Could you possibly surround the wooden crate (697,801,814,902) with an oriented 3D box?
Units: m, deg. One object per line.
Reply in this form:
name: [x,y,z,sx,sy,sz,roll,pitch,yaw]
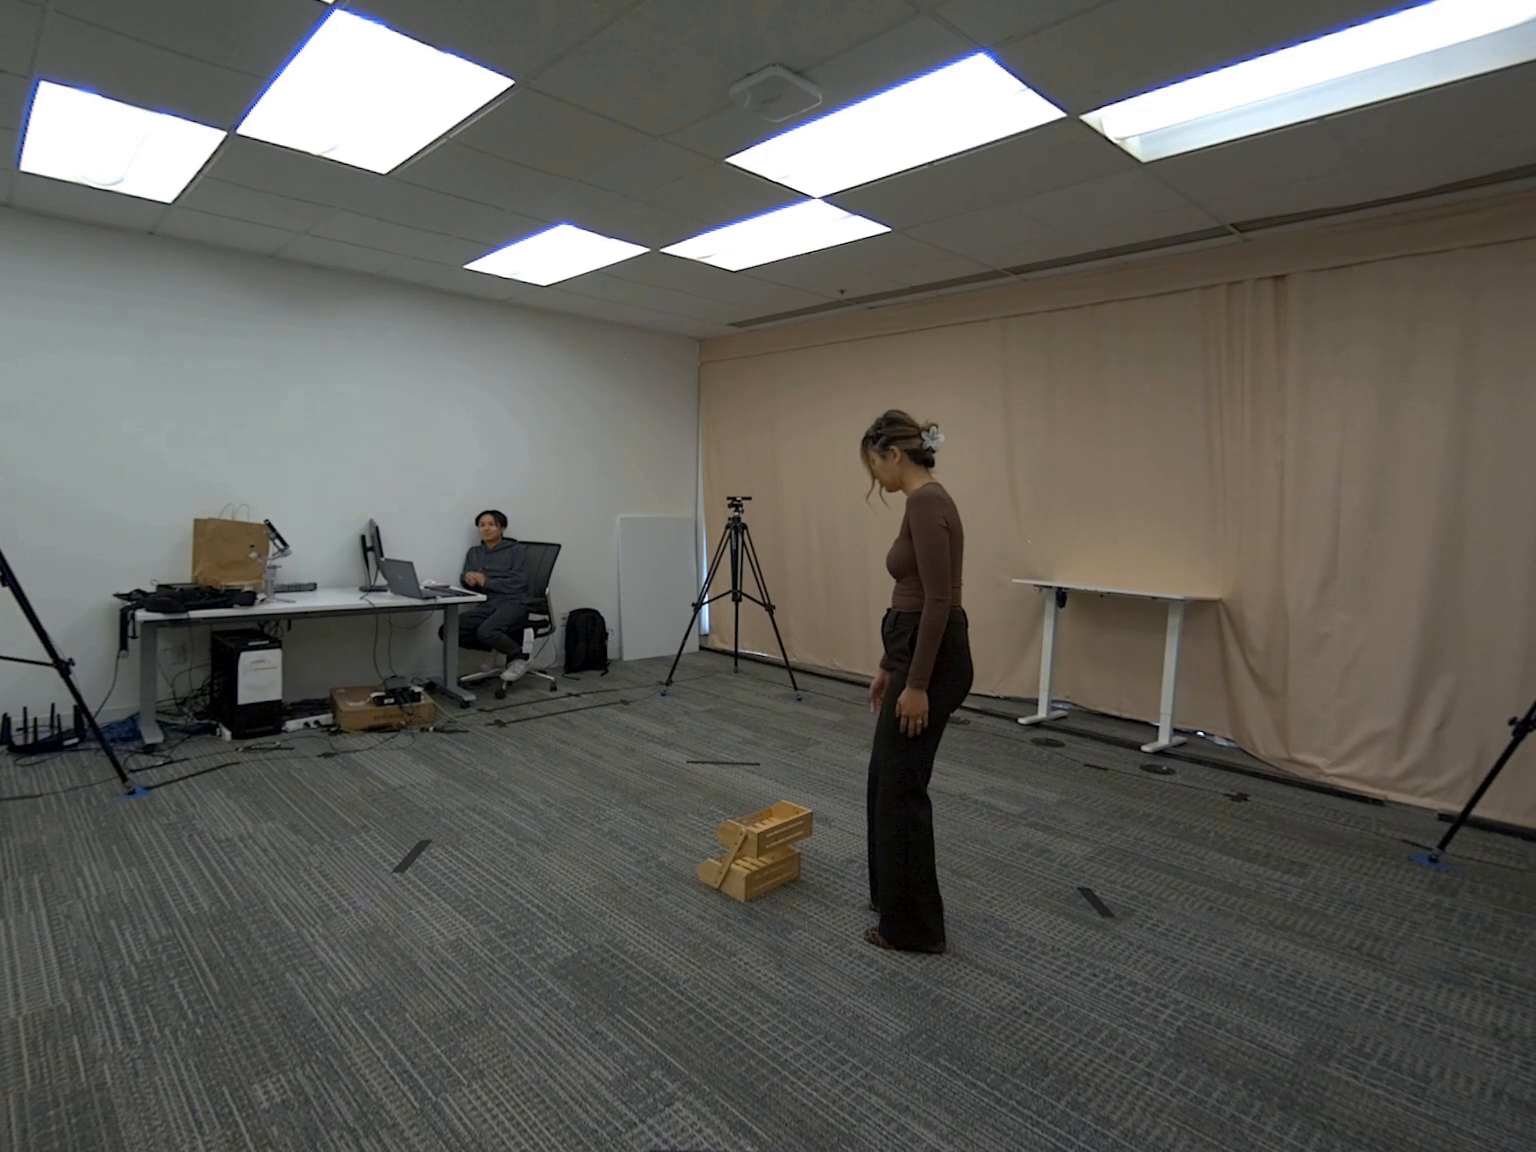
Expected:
wooden crate: [-0.057,0.976,3.072,0.310,0.272,0.317,5,6,43]
